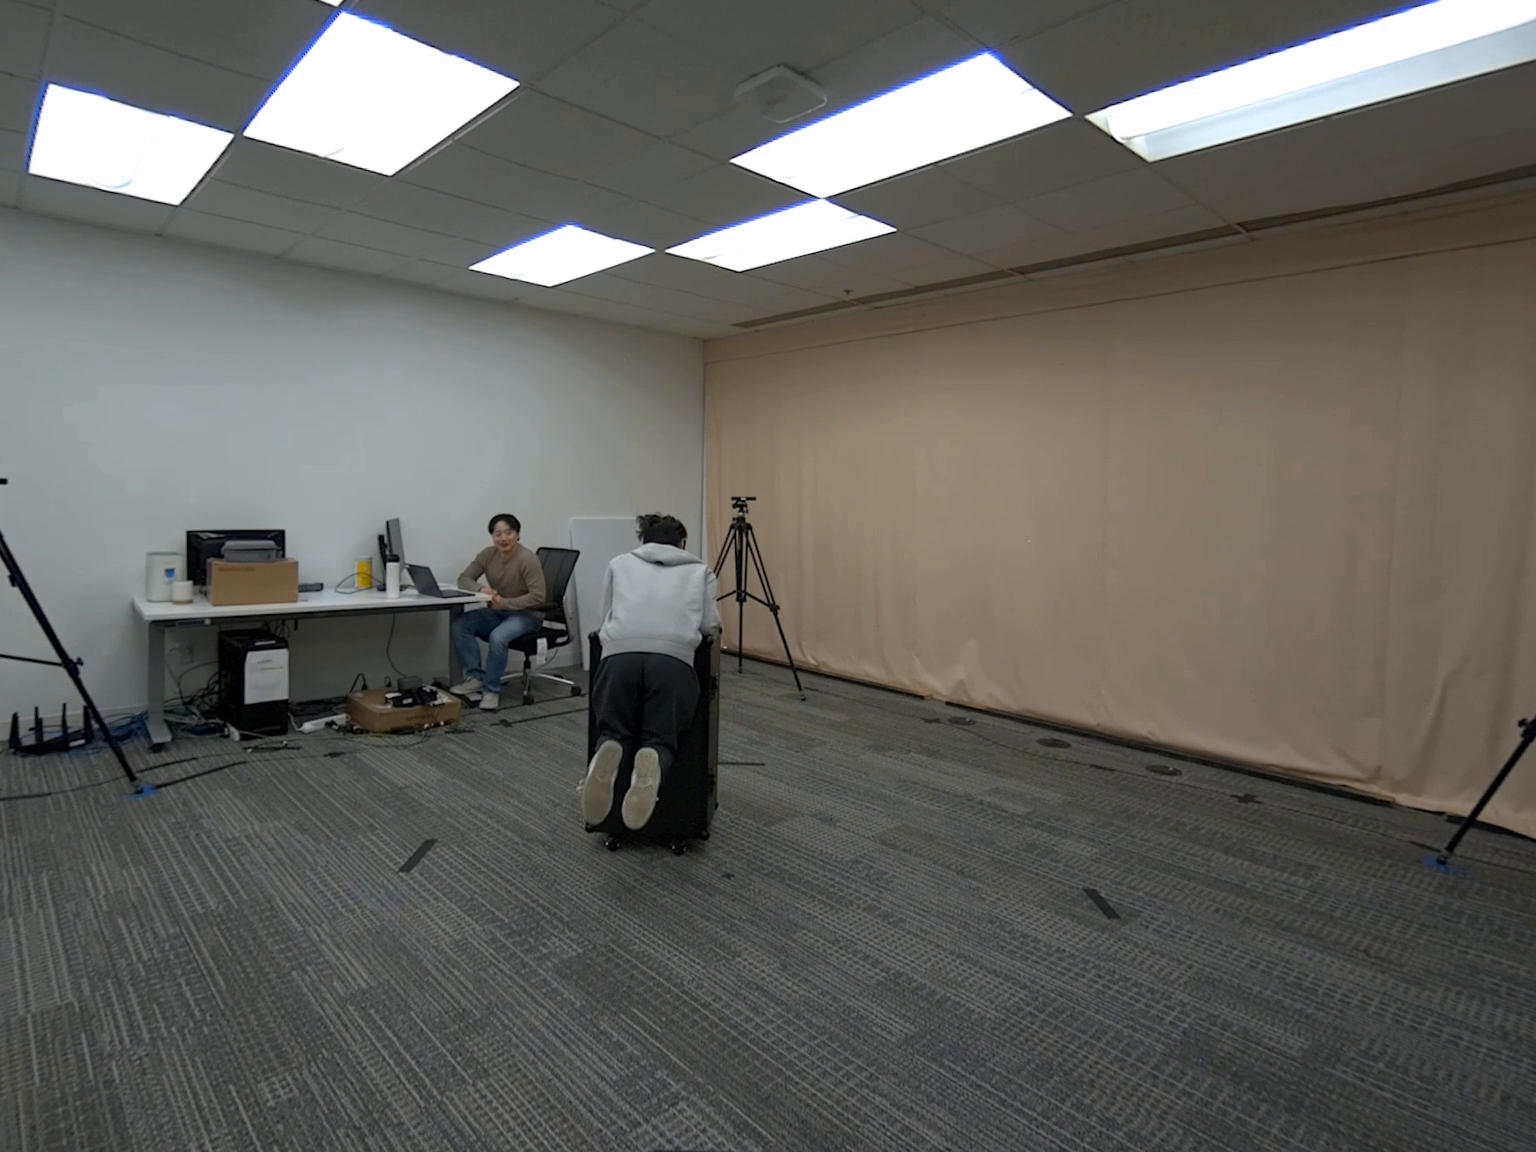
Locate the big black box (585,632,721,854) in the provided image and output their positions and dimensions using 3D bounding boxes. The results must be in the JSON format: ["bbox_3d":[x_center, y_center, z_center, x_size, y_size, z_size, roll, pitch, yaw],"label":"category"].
[{"bbox_3d":[-0.473,0.649,3.446,0.523,0.860,0.395,2,2,3],"label":"big black box"}]
